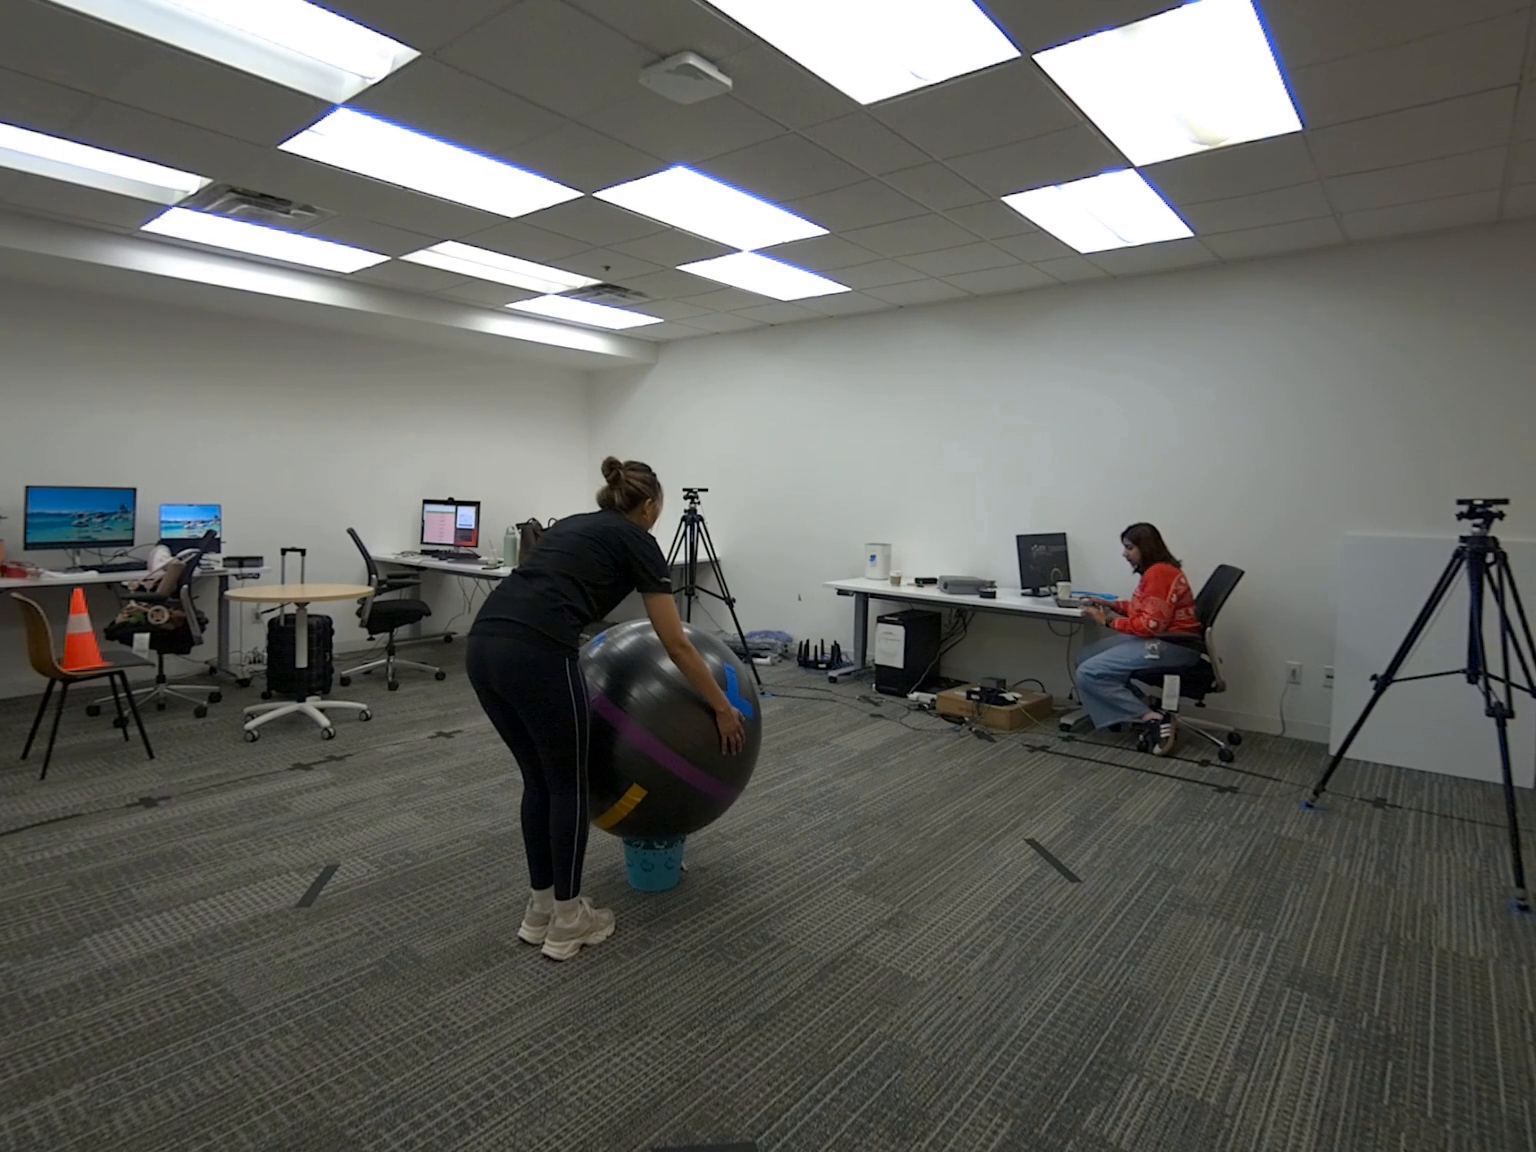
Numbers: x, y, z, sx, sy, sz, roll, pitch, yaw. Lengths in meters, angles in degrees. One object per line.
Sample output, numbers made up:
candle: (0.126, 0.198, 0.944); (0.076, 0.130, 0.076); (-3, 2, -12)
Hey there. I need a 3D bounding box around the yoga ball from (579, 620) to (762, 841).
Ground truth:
yoga ball: (-0.401, 0.521, 2.985); (0.757, 0.755, 0.762); (1, 4, -2)
